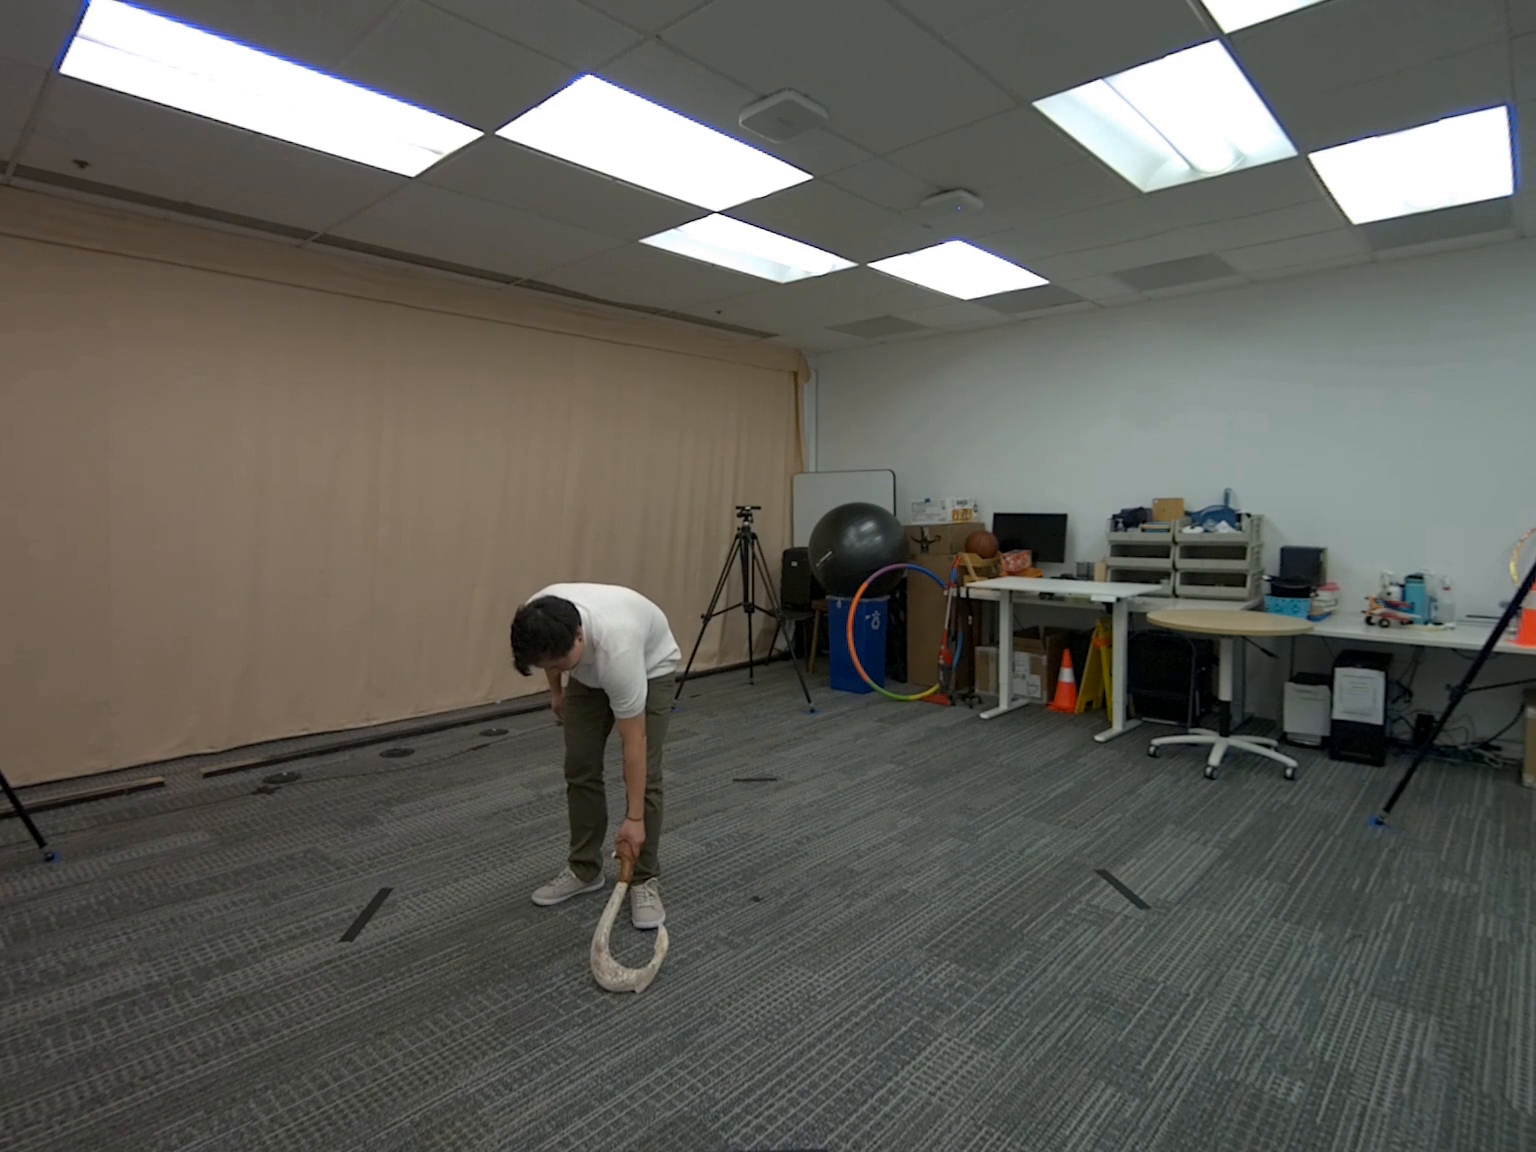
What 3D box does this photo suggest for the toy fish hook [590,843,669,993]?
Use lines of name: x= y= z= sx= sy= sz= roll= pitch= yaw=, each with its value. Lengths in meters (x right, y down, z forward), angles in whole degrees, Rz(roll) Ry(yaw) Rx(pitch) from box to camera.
toy fish hook: x=-0.396 y=1.001 z=2.584 sx=0.224 sy=0.047 sz=0.515 roll=4 pitch=47 yaw=-3
